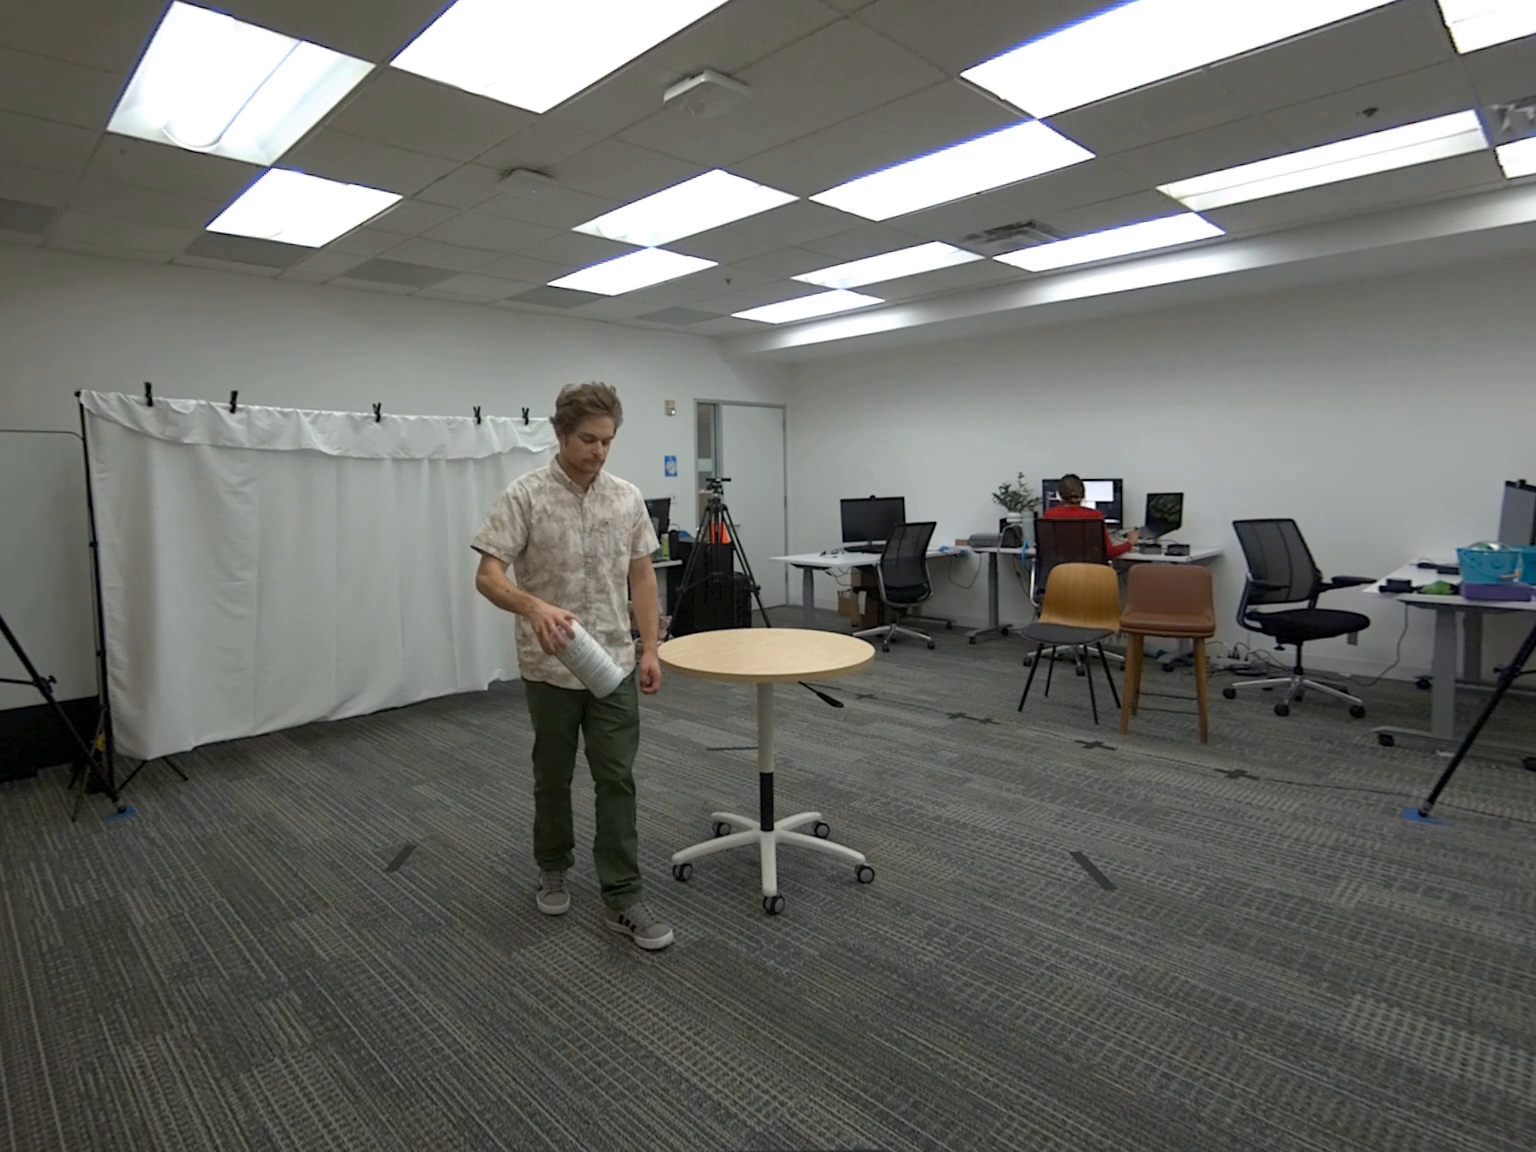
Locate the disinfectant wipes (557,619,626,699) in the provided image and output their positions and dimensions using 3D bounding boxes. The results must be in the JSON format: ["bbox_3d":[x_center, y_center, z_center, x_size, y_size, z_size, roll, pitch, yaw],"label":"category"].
[{"bbox_3d":[-0.509,0.232,2.387,0.118,0.213,0.120,-36,18,13],"label":"disinfectant wipes"}]
